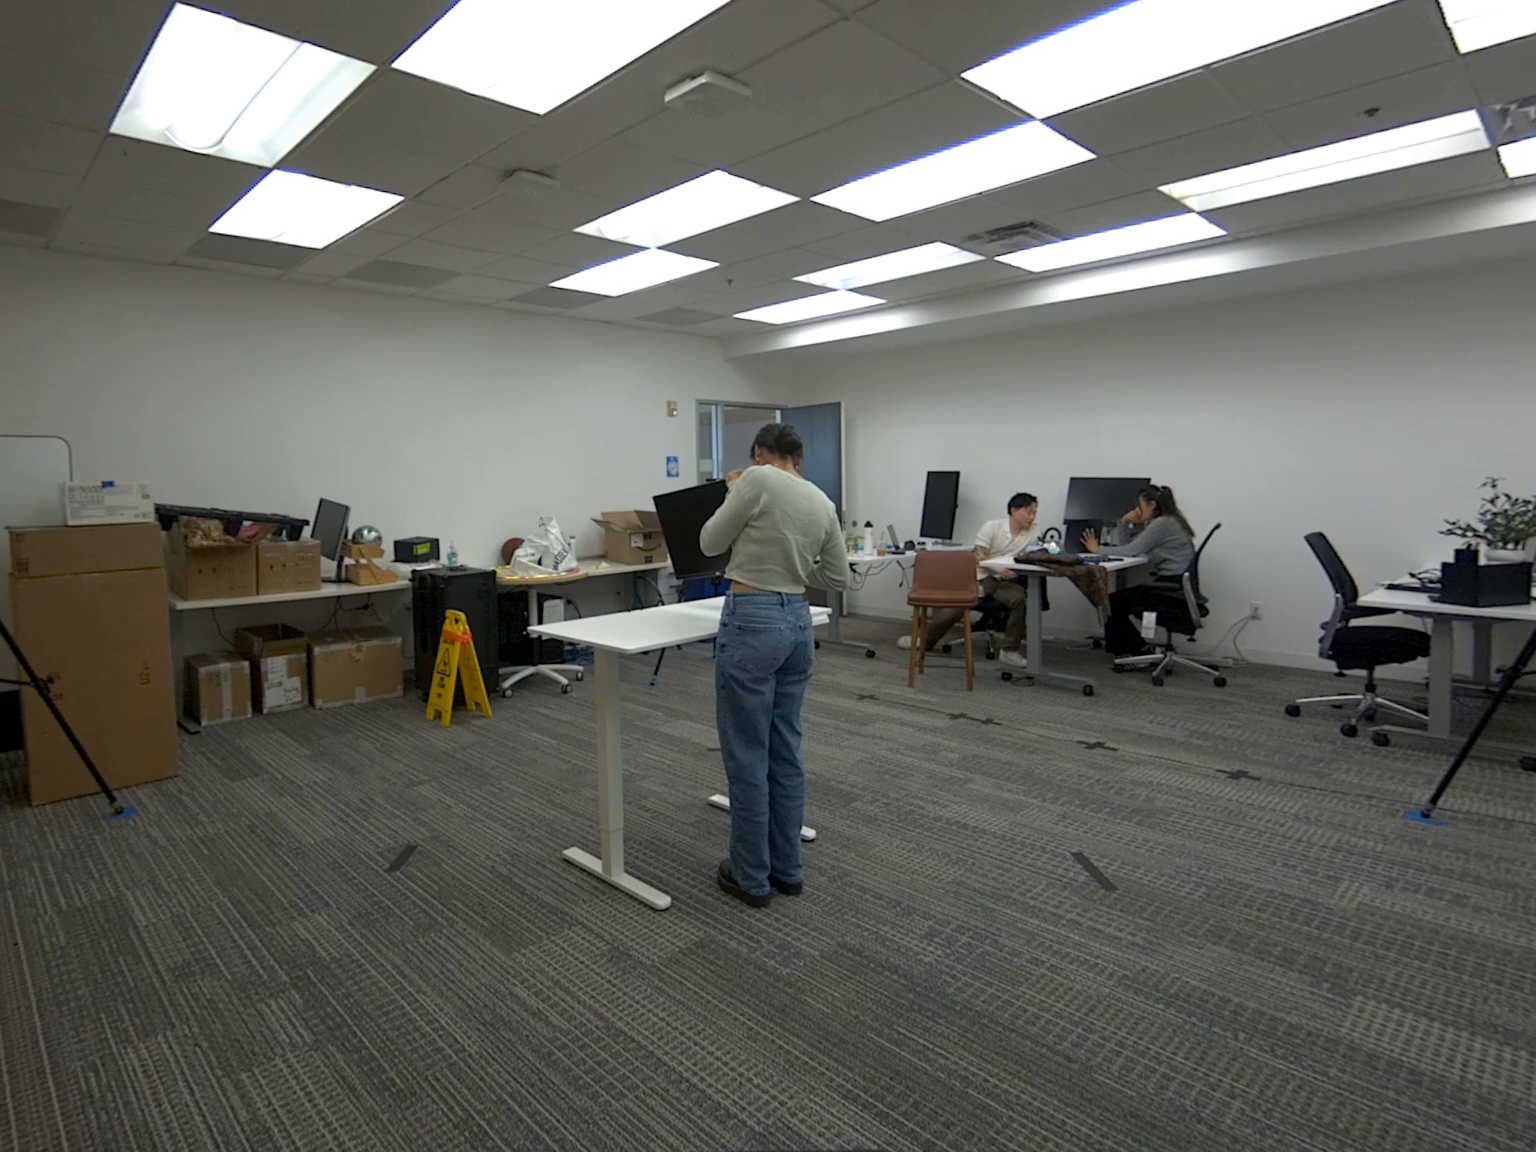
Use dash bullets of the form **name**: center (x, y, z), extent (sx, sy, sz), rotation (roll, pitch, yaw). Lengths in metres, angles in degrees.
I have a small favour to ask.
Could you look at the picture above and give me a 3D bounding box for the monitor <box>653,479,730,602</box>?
- **monitor**: center (-0.159, -0.112, 3.289), extent (0.552, 0.512, 0.186), rotation (-8, 24, 45)
